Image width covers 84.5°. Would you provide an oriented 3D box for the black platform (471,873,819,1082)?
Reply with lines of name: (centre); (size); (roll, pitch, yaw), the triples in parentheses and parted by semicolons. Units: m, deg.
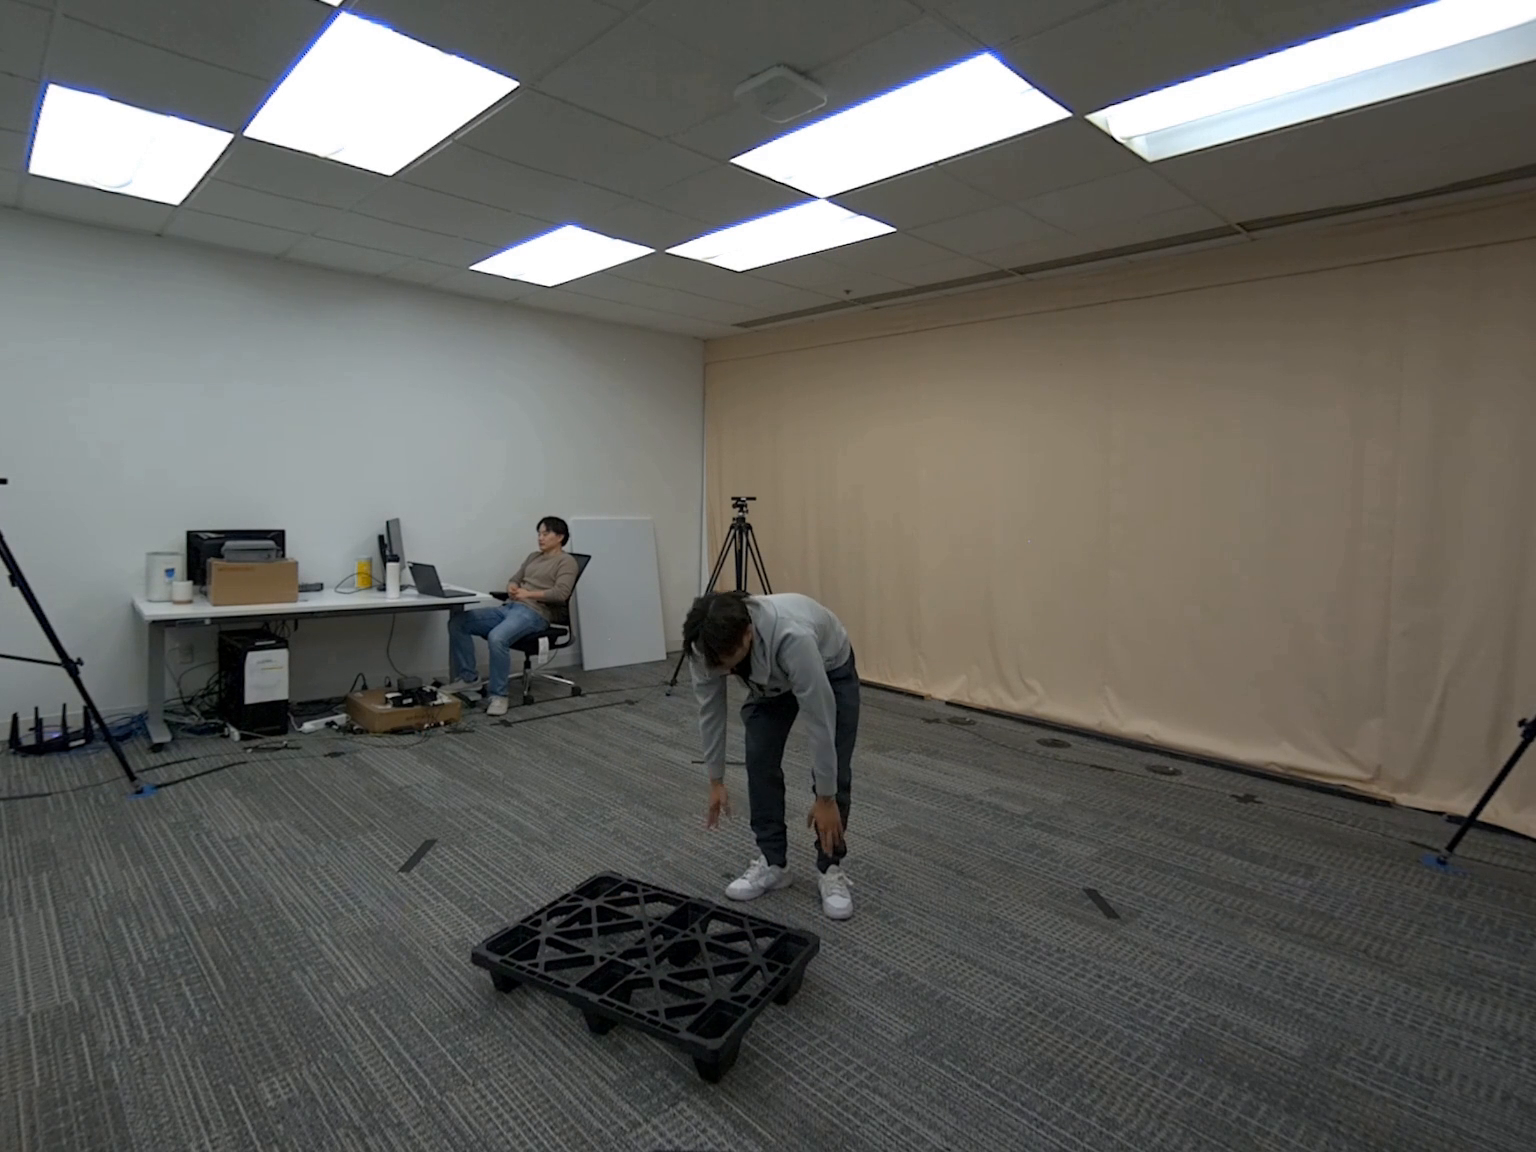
black platform: (-0.339, 1.102, 2.372); (0.823, 0.143, 0.594); (4, 7, 29)
